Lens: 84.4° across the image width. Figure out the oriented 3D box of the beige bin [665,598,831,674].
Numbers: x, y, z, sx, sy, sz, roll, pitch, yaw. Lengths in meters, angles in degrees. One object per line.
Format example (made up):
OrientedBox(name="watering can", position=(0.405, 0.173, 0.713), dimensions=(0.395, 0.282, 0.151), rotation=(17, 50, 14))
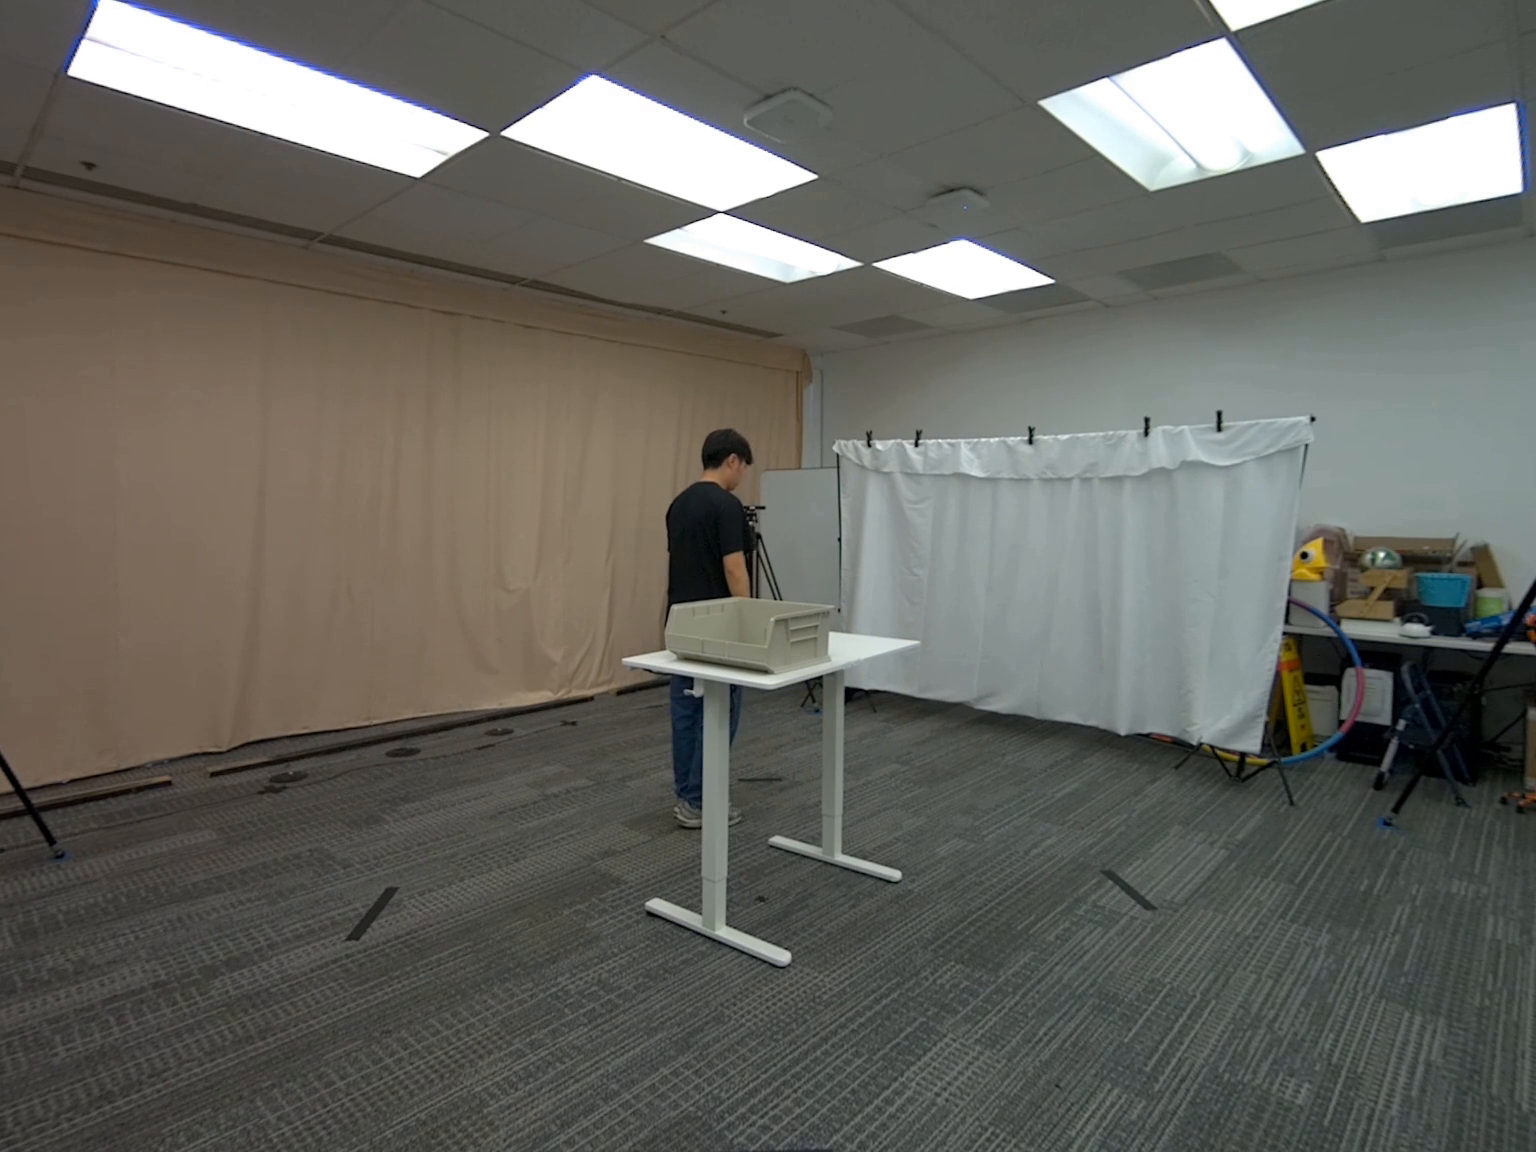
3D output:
OrientedBox(name="beige bin", position=(-0.053, 0.190, 2.762), dimensions=(0.436, 0.189, 0.366), rotation=(4, 4, 40))
